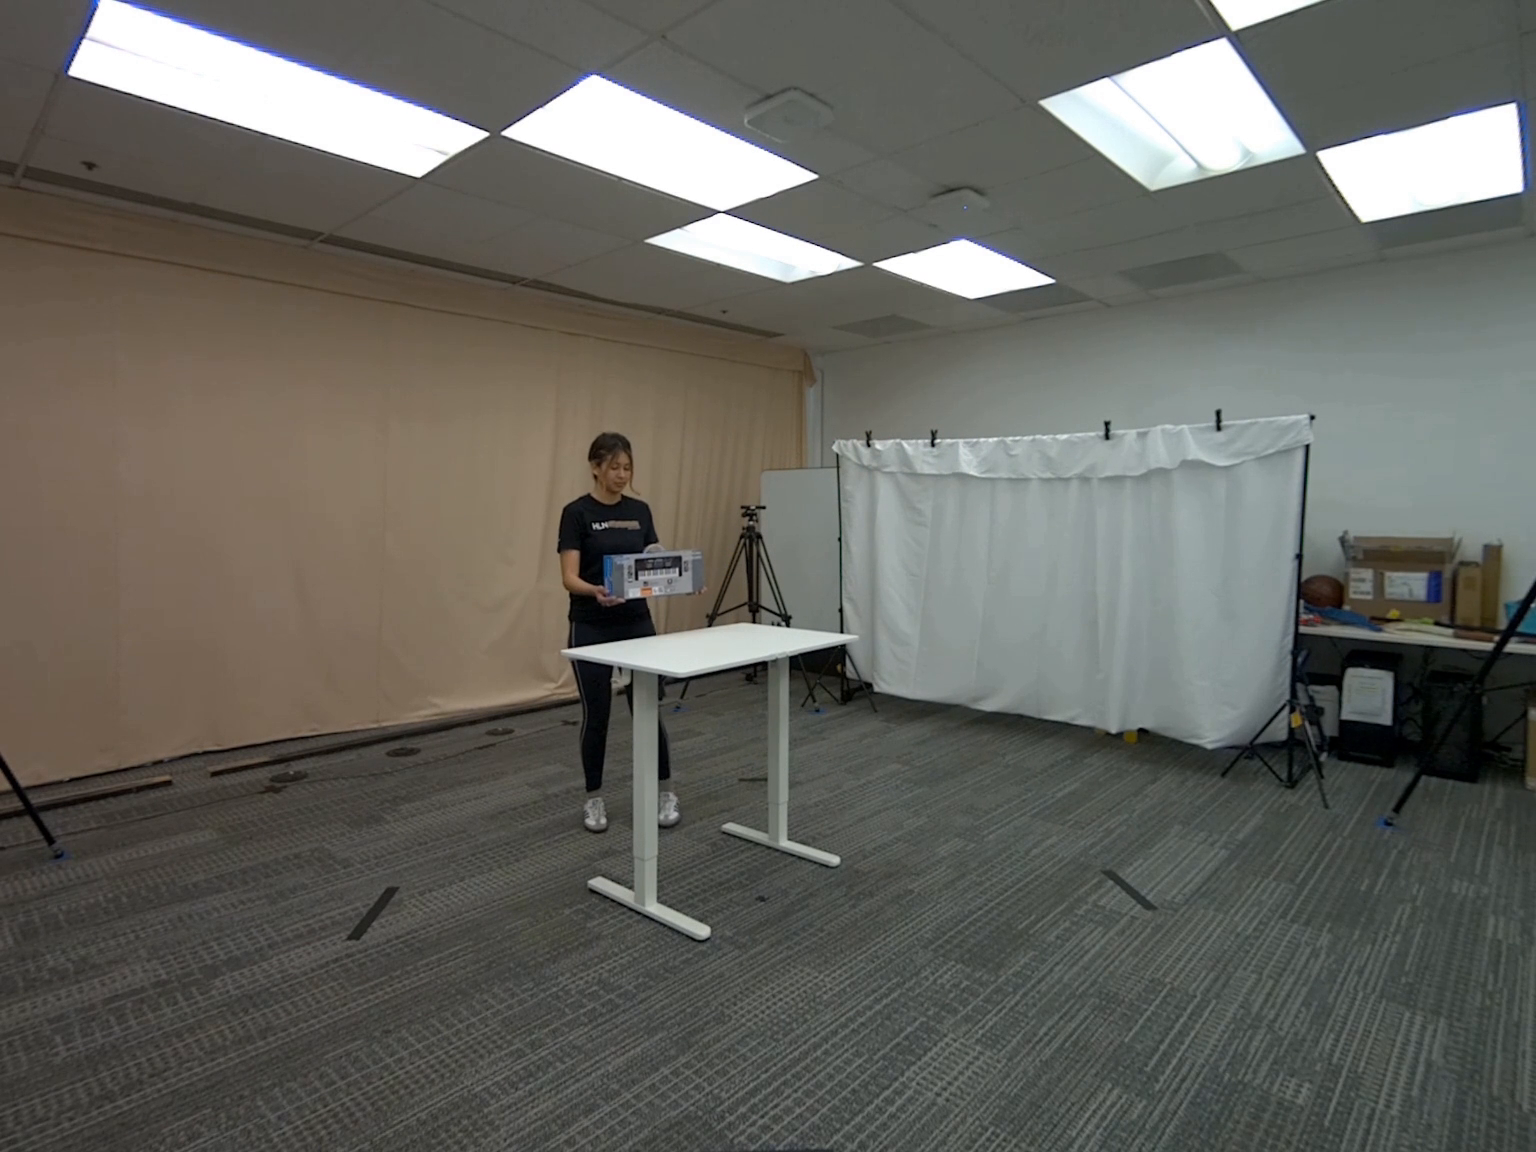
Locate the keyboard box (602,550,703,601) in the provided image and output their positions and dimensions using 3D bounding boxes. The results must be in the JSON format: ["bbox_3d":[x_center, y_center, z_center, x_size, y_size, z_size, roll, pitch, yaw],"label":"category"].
[{"bbox_3d":[-0.448,-0.005,3.363,0.424,0.175,0.061,-5,5,-39],"label":"keyboard box"}]
